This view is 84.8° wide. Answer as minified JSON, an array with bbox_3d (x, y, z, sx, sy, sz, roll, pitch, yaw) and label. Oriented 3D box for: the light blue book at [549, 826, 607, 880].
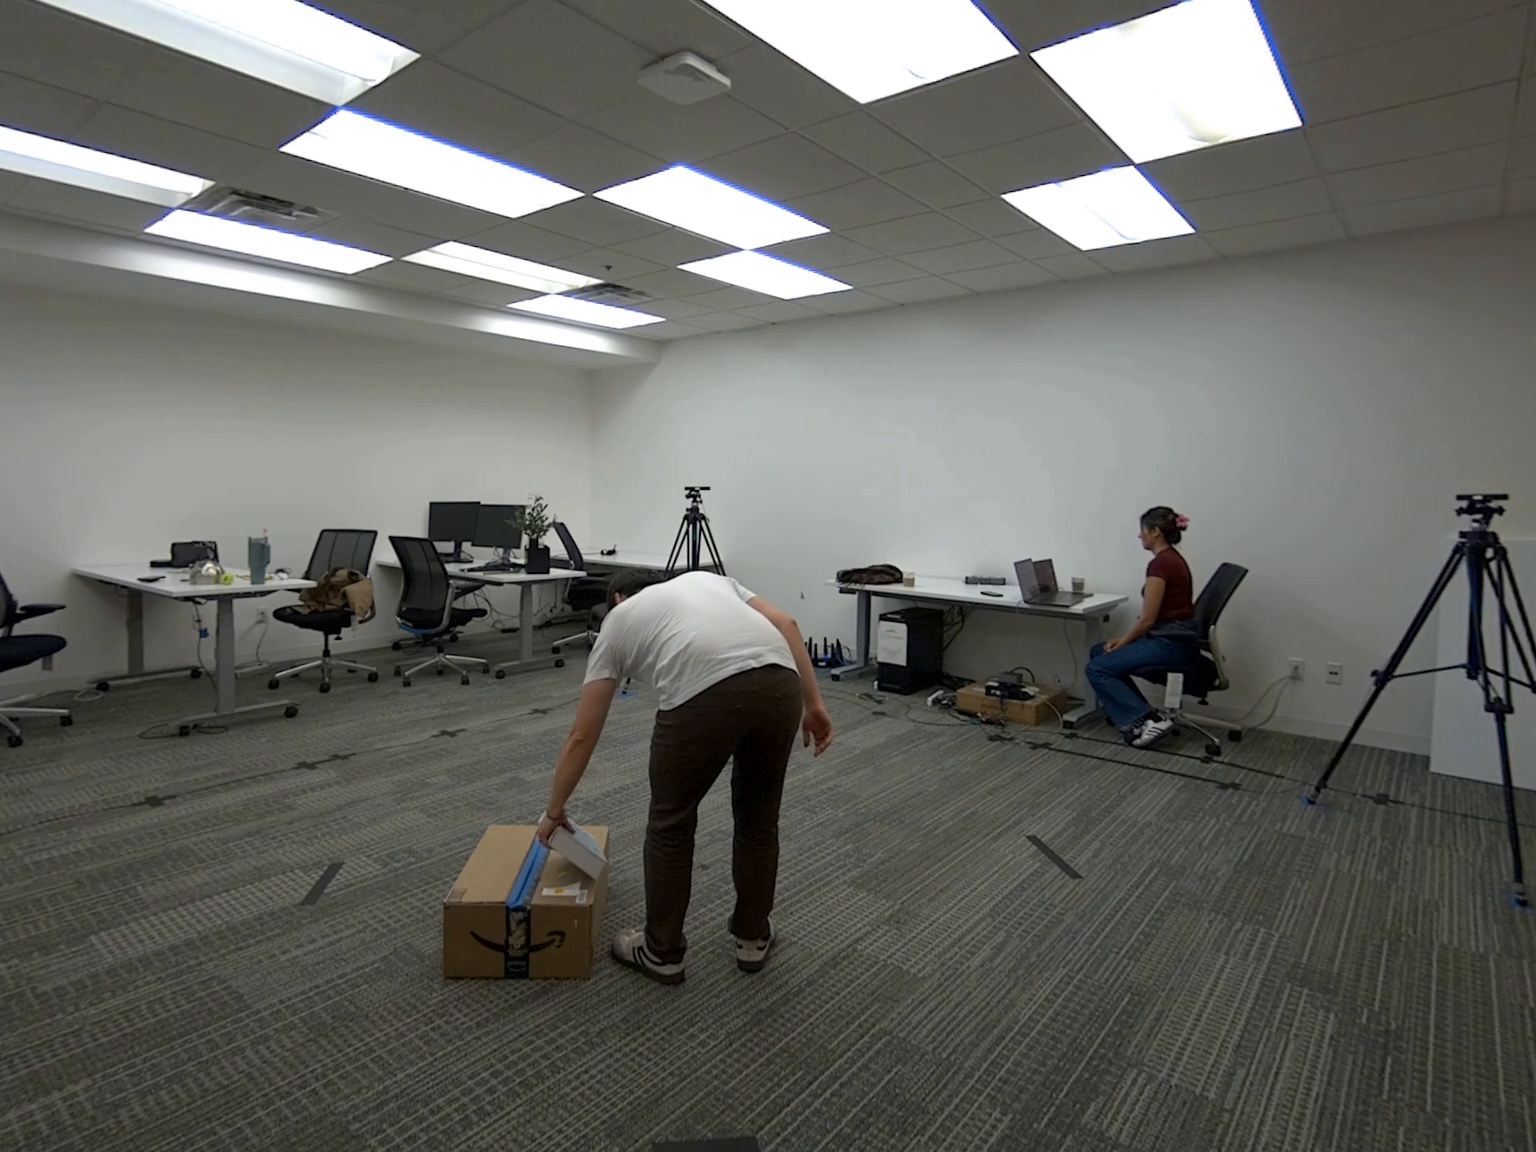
[{"bbox_3d":[-0.607,0.809,2.606,0.188,0.059,0.265,38,-11,-13],"label":"light blue book"}]
